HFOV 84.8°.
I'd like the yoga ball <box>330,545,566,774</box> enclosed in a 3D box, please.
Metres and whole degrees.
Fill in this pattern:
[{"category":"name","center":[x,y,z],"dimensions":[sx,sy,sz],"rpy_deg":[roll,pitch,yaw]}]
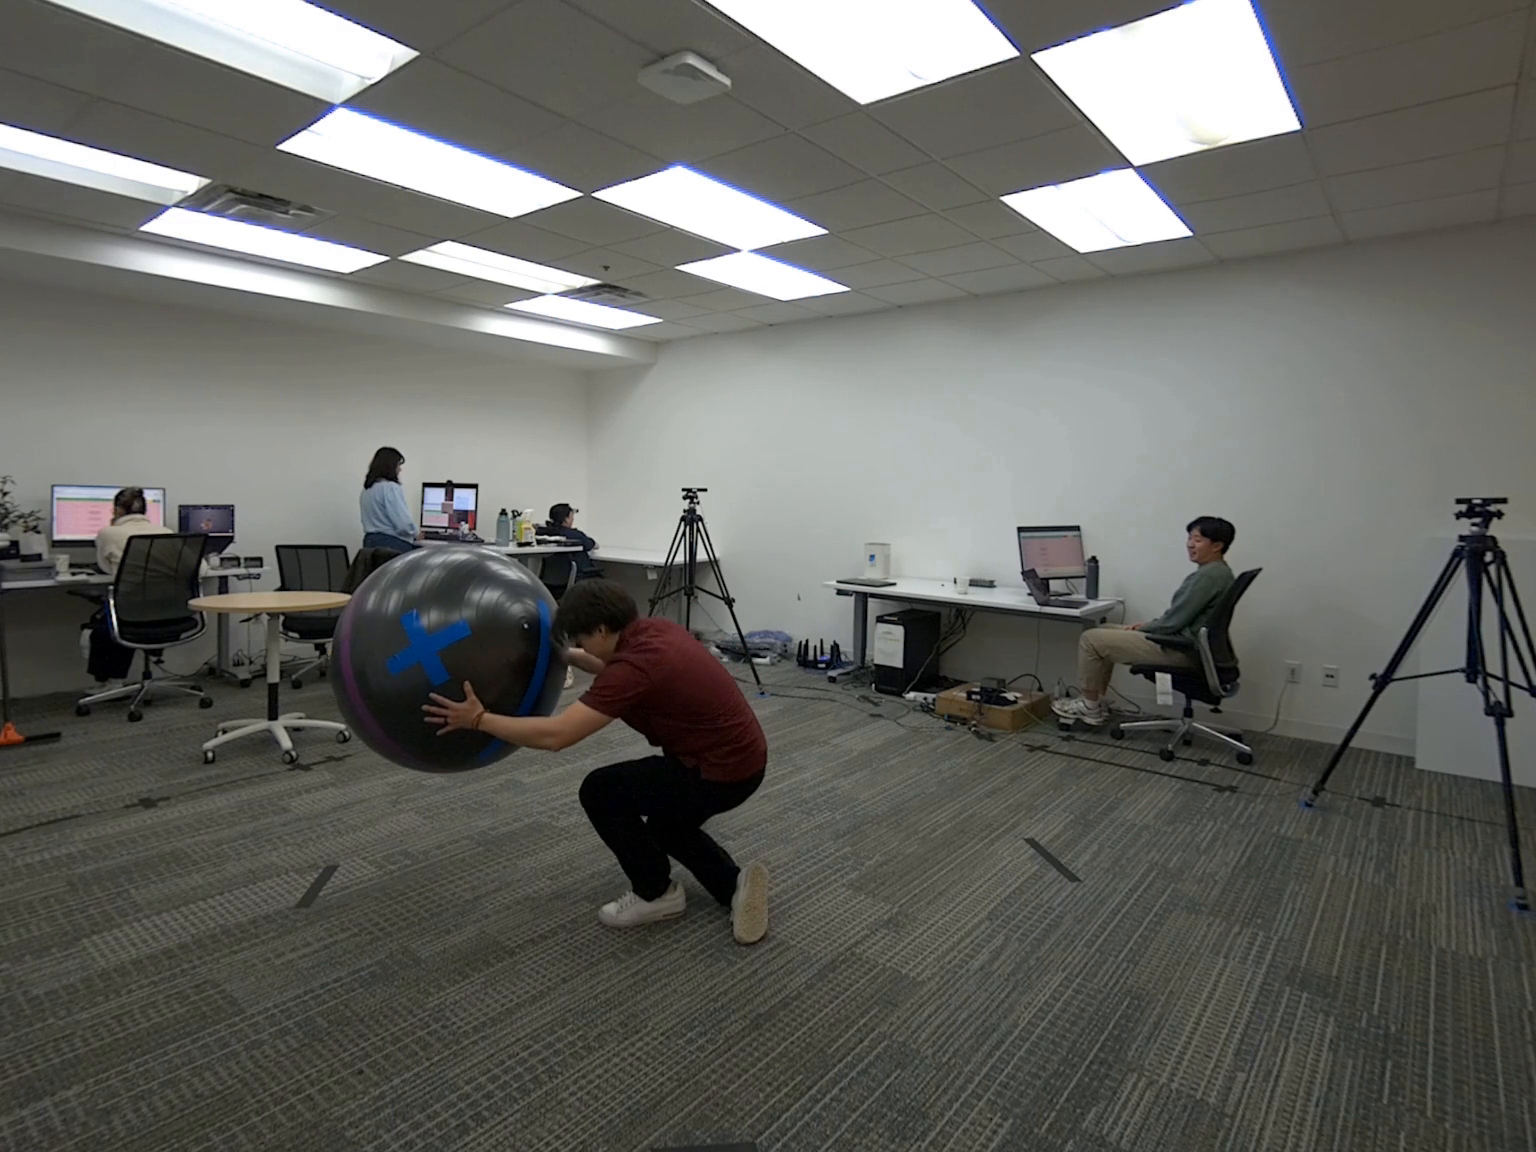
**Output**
[{"category":"yoga ball","center":[-1.059,0.279,2.847],"dimensions":[0.757,0.755,0.762],"rpy_deg":[1,4,-2]}]
